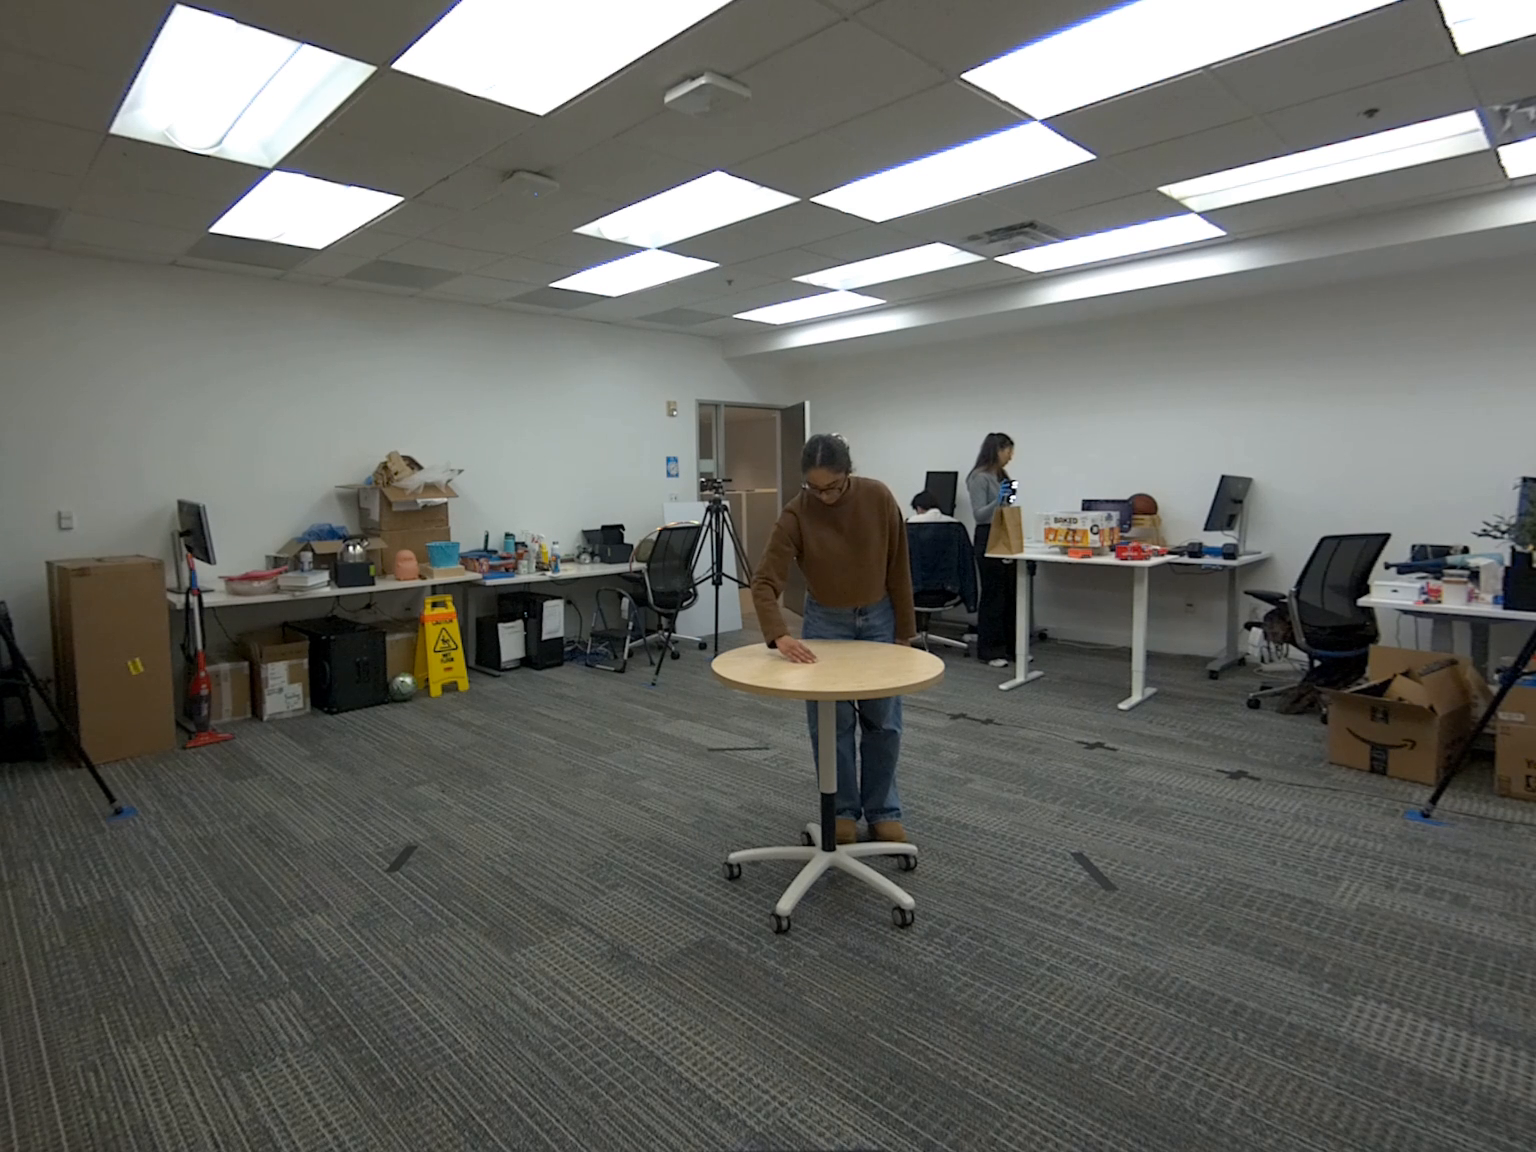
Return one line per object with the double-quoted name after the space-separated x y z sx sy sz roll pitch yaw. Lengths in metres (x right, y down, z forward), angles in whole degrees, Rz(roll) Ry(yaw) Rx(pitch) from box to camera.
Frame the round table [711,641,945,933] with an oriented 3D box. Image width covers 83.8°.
0.204 0.679 2.872 0.763 0.790 0.768 -1 5 -2 "round table"
